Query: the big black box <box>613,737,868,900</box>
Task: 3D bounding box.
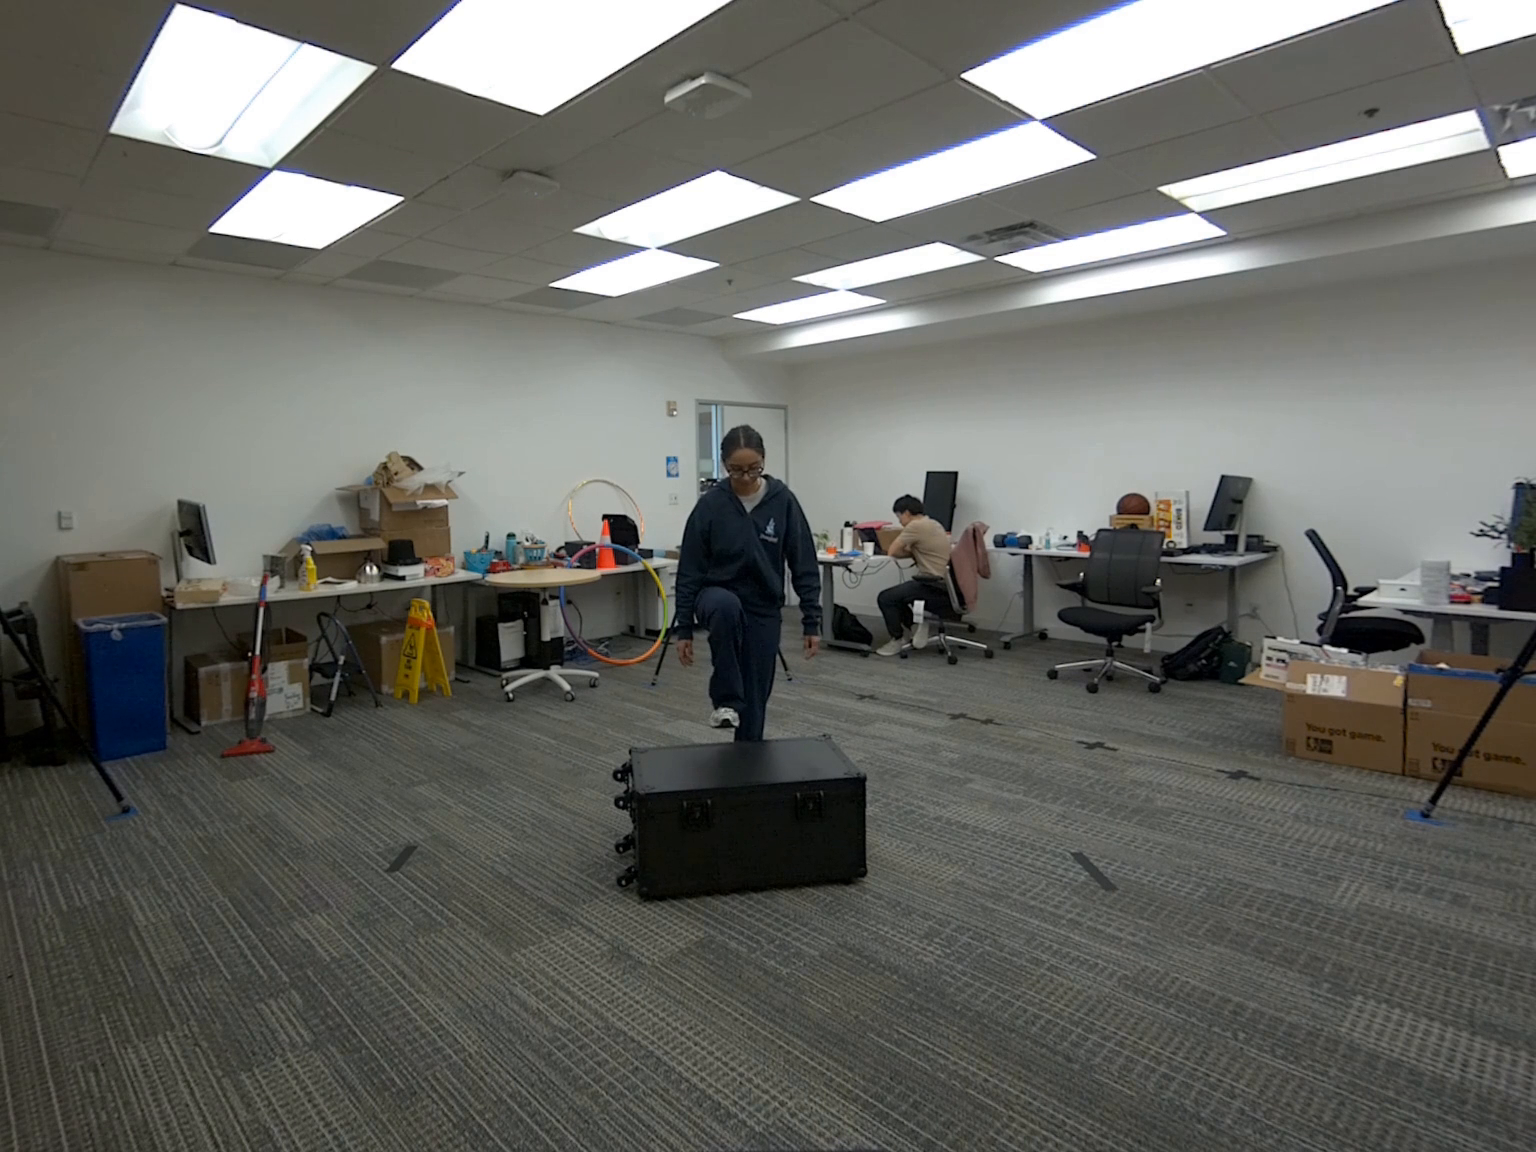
[{"bbox_3d":[-0.126,0.855,3.094,0.854,0.395,0.528,-2,5,-10],"label":"big black box"}]
